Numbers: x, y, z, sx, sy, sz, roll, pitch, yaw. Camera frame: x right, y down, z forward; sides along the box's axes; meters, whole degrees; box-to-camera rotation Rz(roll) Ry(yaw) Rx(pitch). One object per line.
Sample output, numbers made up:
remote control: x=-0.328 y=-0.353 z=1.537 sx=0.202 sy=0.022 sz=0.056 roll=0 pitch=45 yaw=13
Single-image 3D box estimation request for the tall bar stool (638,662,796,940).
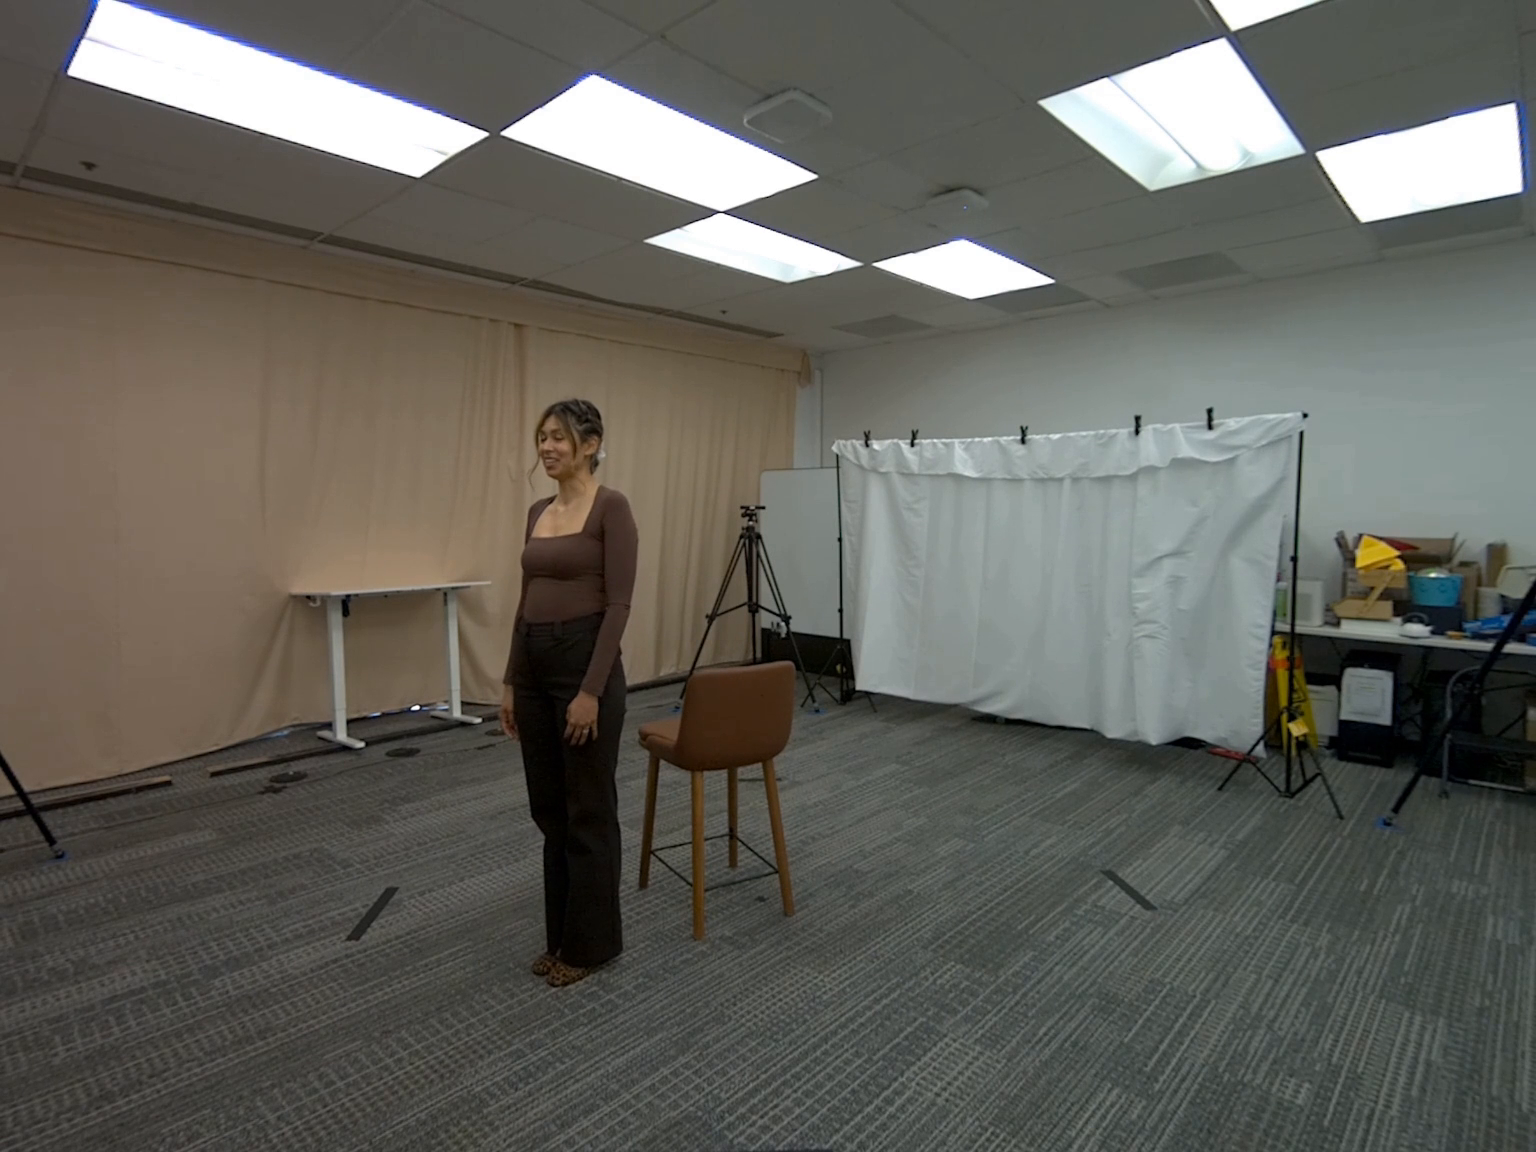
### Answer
tall bar stool: x=-0.182 y=0.714 z=2.951 sx=0.444 sy=0.887 sz=0.482 roll=-2 pitch=6 yaw=-30
